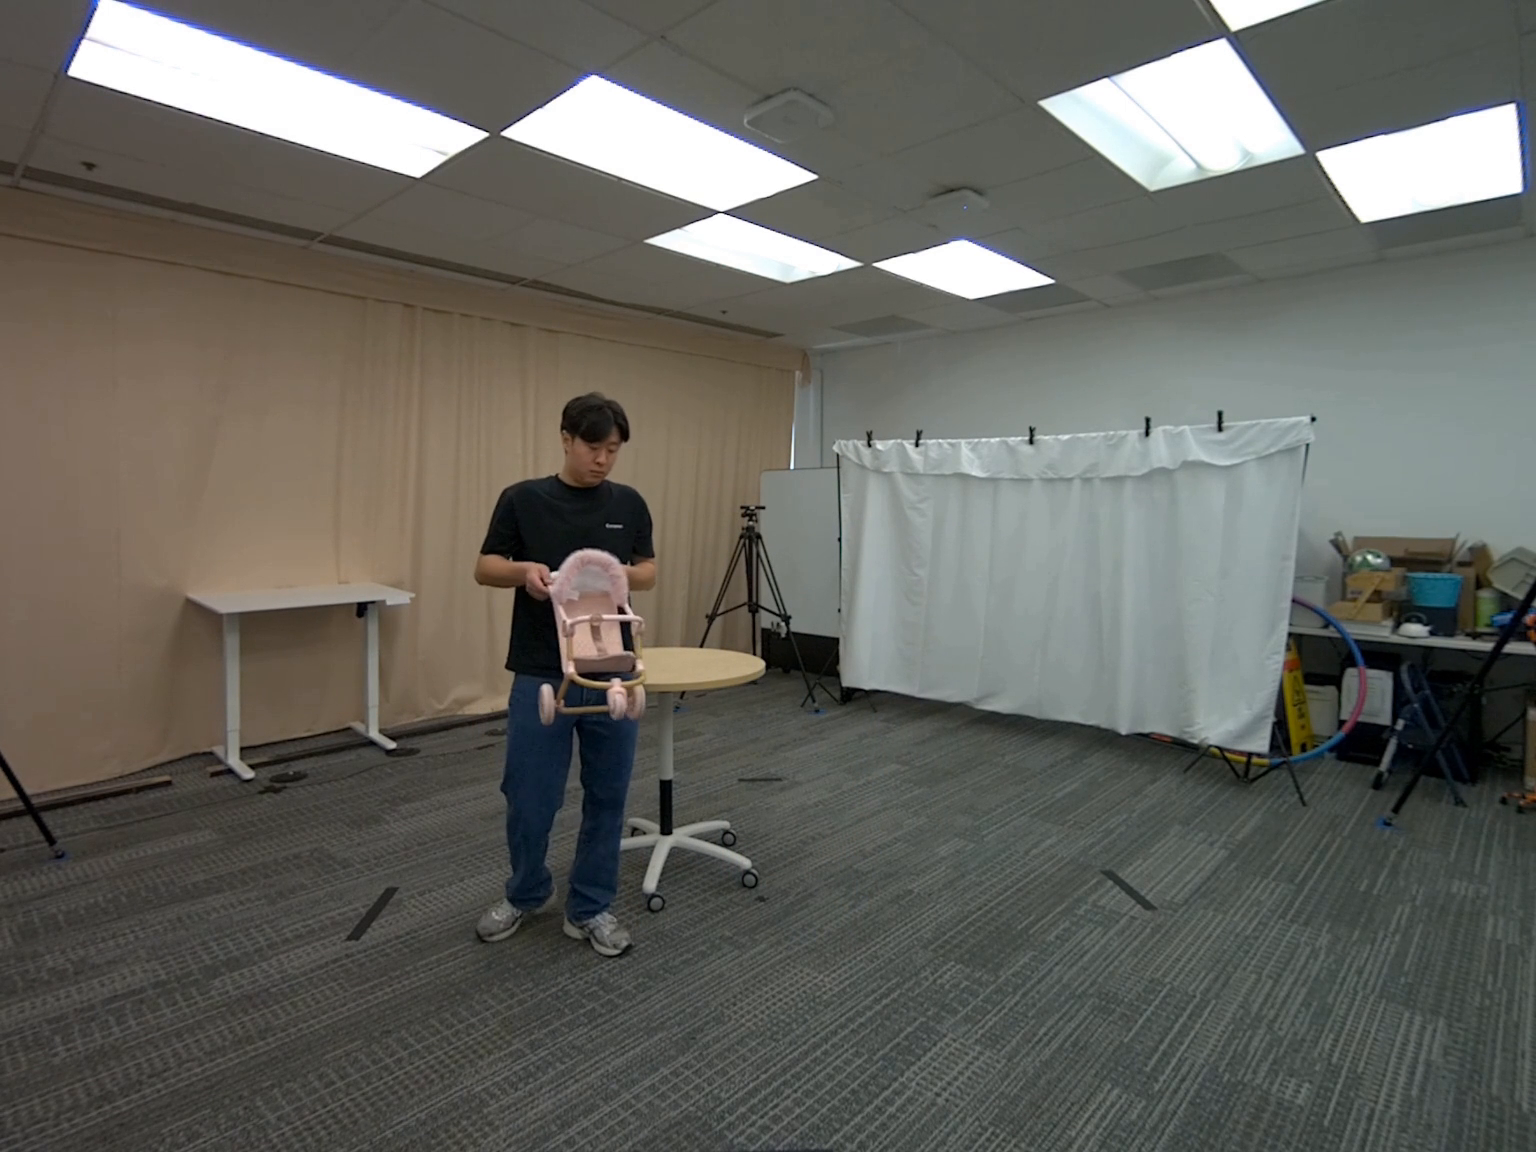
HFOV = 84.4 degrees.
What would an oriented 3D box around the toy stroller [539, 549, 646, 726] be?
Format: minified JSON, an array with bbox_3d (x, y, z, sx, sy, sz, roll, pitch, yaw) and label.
[{"bbox_3d":[-0.470,0.165,2.276,0.276,0.544,0.342,0,-26,-21],"label":"toy stroller"}]
